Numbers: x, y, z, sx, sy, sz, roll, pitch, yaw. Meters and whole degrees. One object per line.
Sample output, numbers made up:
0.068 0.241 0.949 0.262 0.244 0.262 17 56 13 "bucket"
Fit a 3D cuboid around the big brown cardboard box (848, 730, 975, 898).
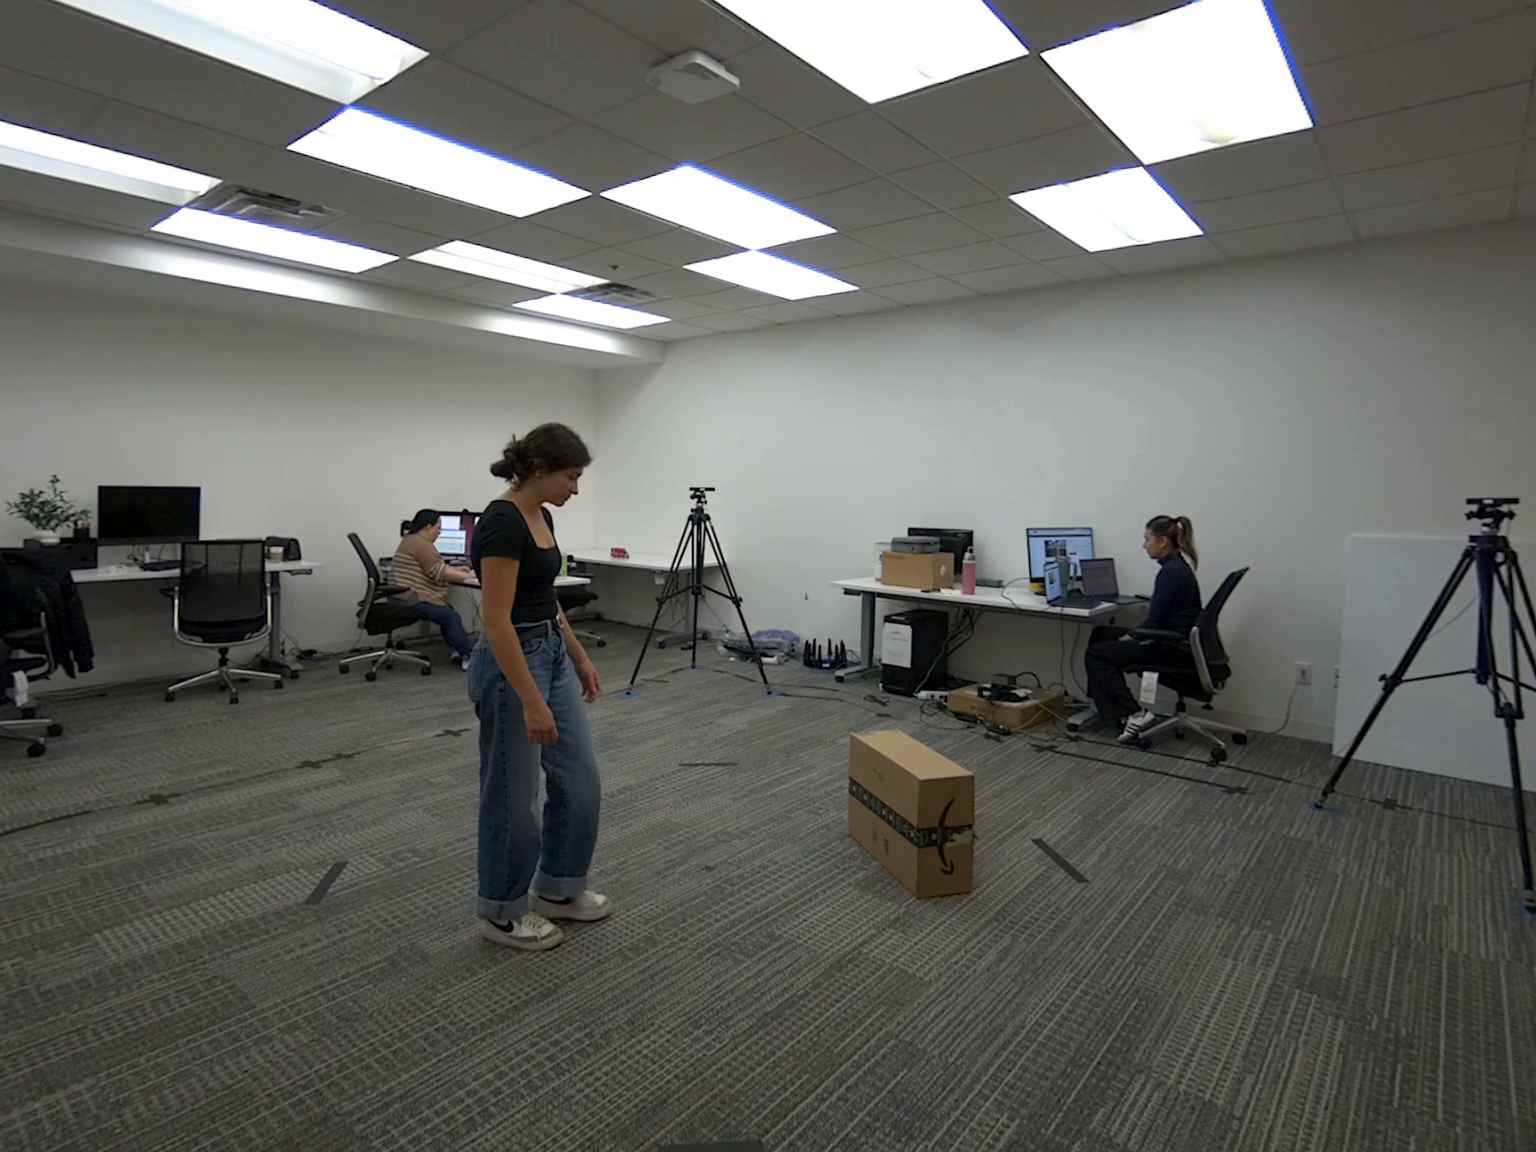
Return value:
0.516 0.863 3.207 0.229 0.416 0.602 -1 6 -18 "big brown cardboard box"
